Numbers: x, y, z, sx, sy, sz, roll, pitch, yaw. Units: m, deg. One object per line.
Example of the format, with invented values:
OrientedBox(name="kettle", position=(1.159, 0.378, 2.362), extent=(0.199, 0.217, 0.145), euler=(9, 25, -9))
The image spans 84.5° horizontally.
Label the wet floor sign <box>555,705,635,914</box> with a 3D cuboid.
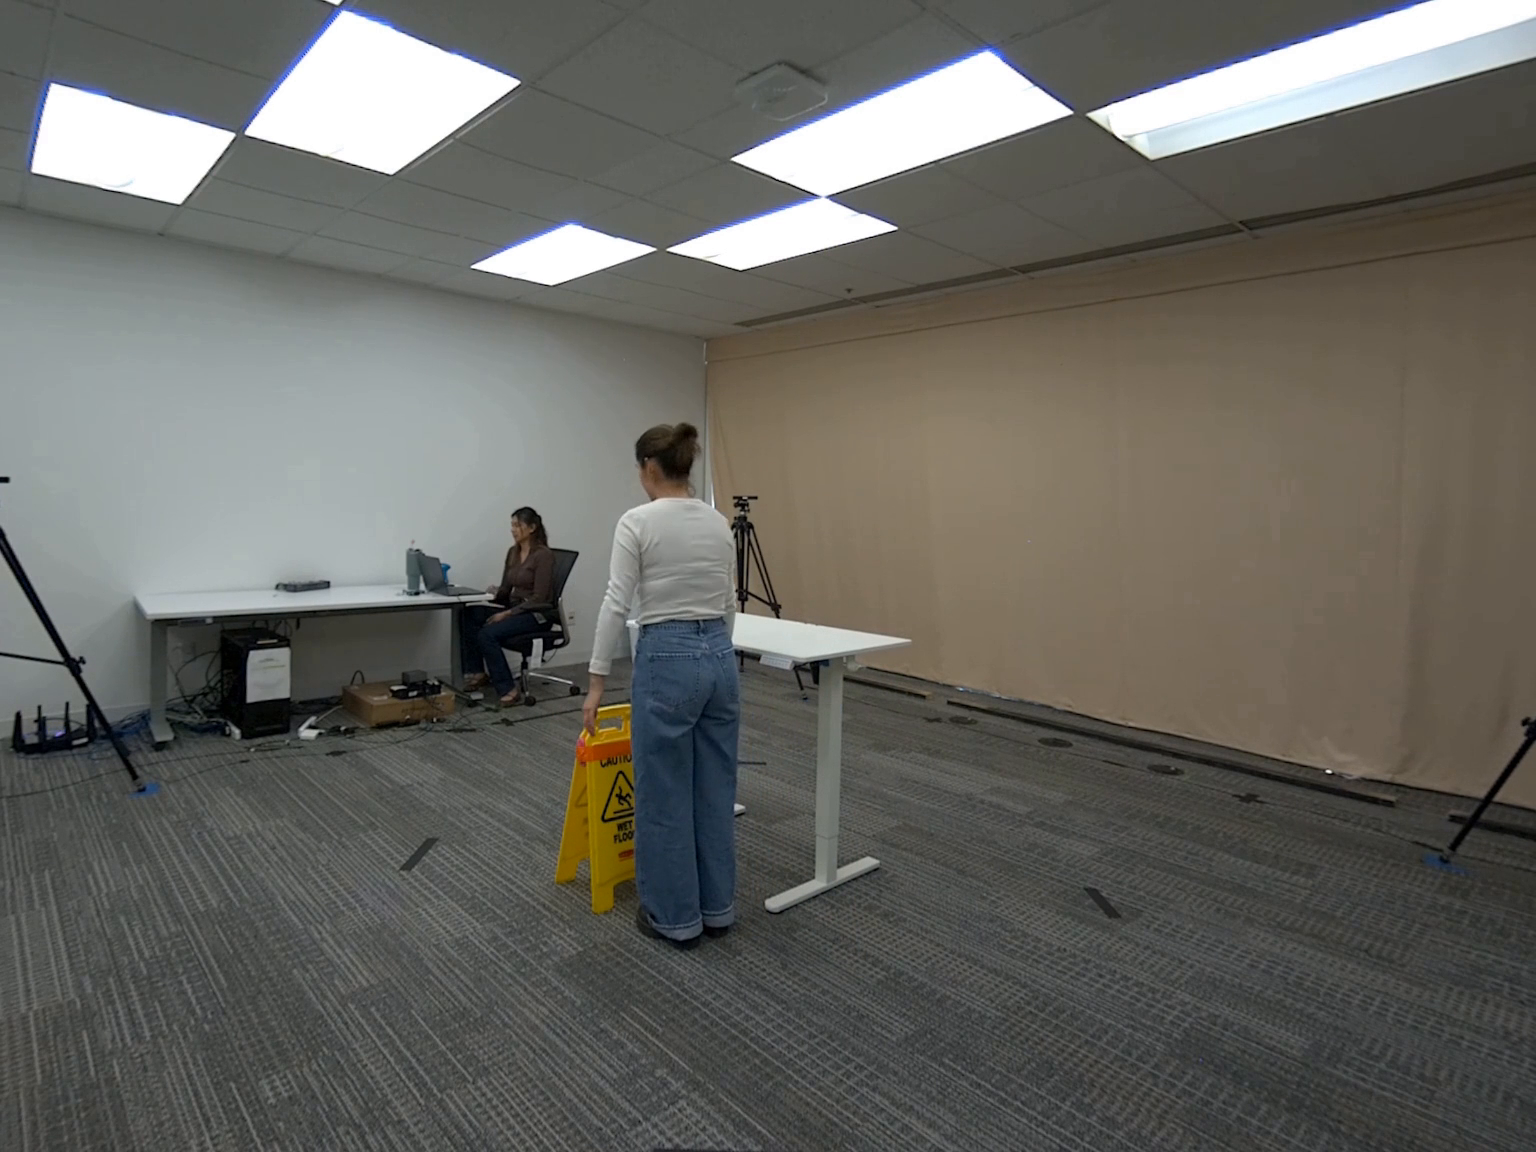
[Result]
OrientedBox(name="wet floor sign", position=(-0.559, 0.782, 2.958), extent=(0.276, 0.644, 0.297), euler=(-1, 5, -41))
